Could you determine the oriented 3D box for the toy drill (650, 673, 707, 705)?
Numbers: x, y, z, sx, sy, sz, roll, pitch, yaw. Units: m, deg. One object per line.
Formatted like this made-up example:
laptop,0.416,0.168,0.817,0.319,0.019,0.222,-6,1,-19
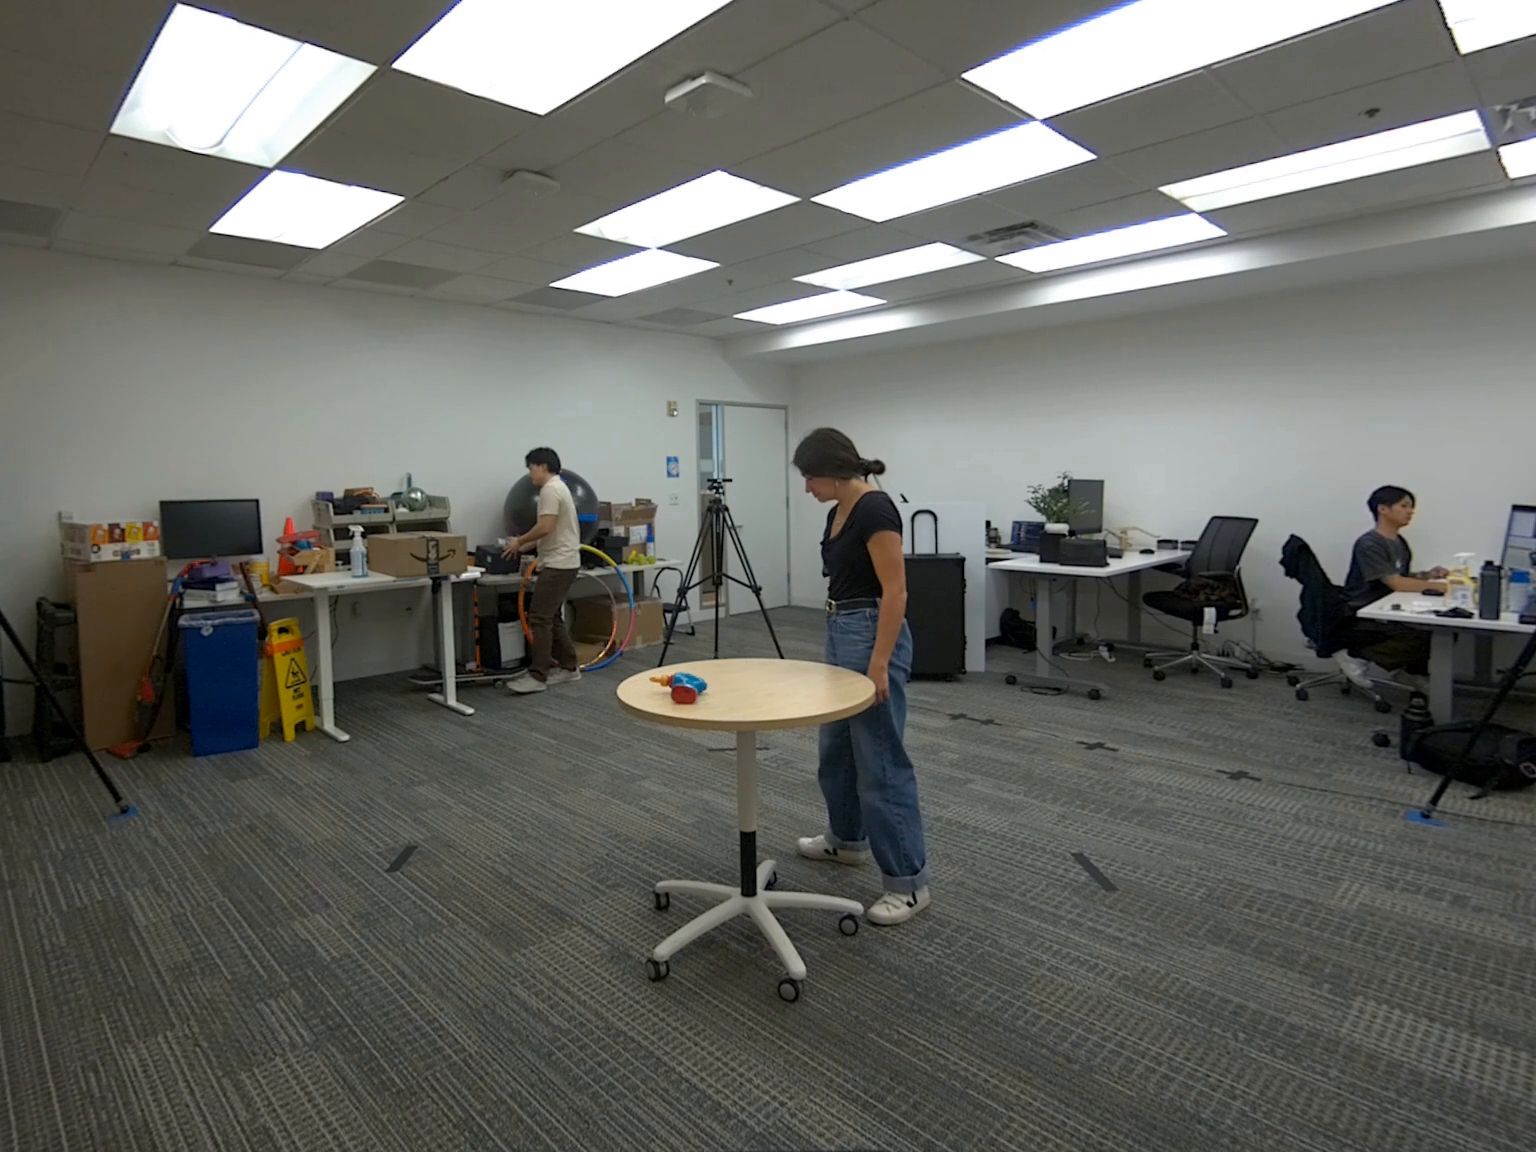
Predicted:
toy drill,-0.258,0.315,2.418,0.171,0.061,0.145,8,8,7
